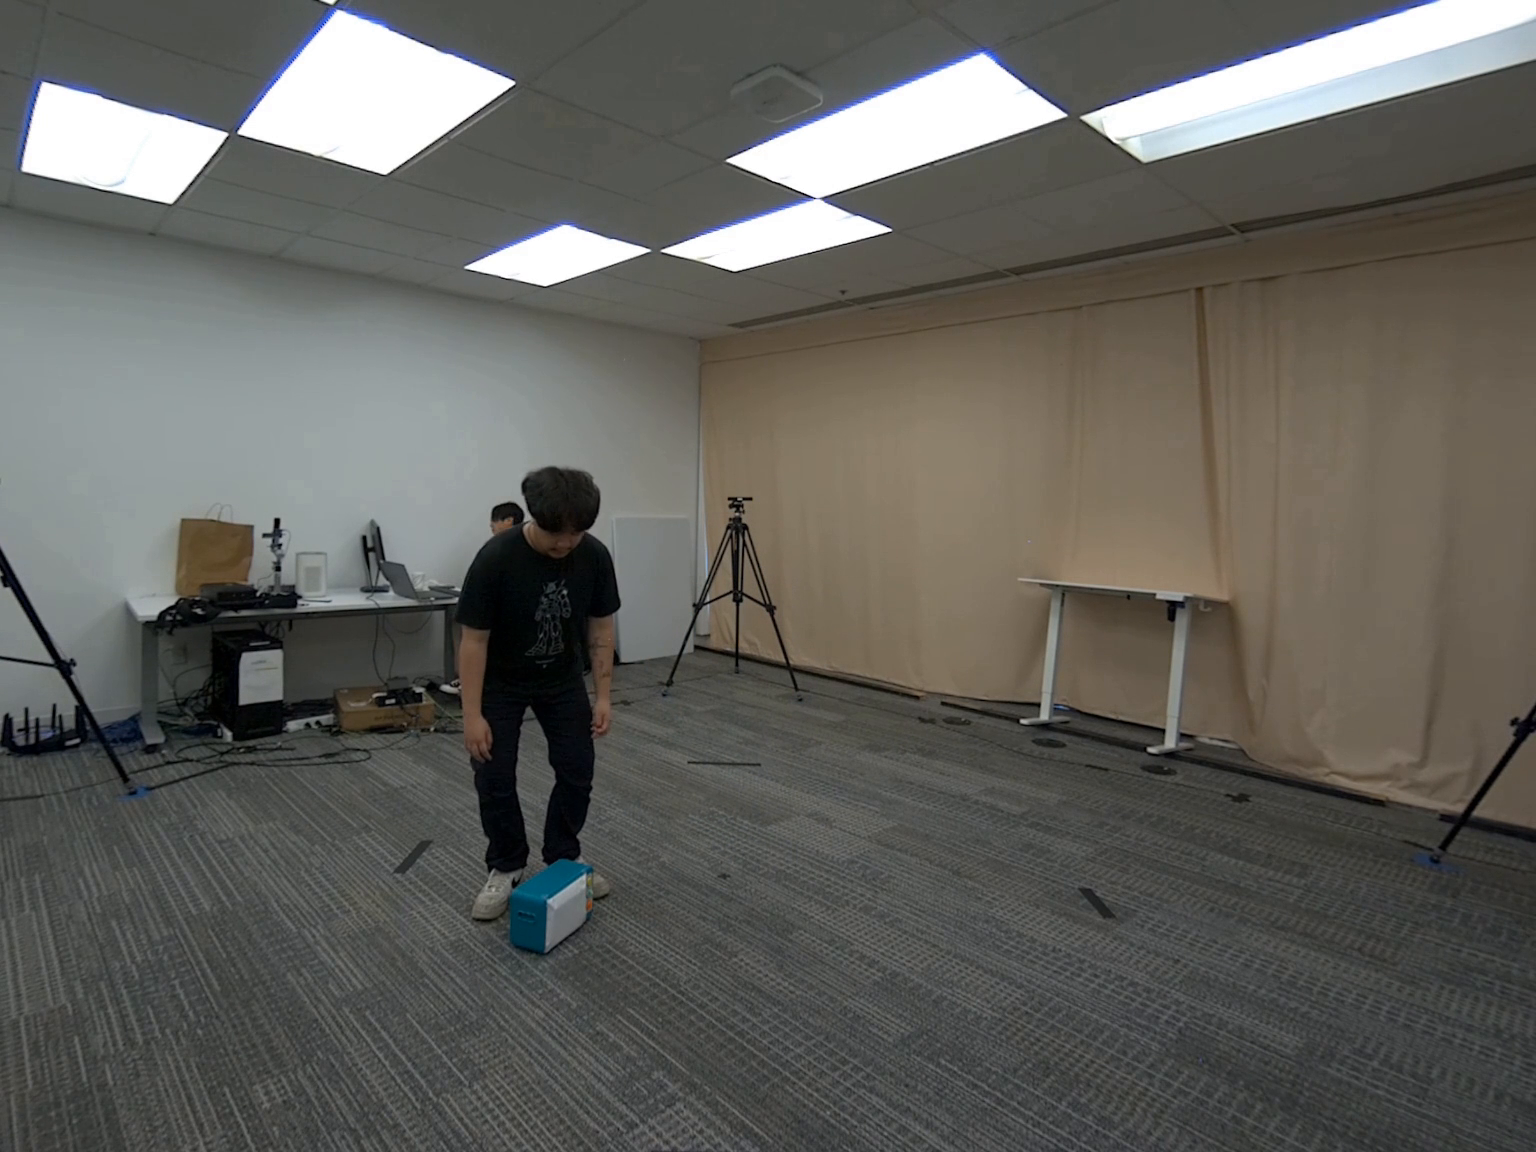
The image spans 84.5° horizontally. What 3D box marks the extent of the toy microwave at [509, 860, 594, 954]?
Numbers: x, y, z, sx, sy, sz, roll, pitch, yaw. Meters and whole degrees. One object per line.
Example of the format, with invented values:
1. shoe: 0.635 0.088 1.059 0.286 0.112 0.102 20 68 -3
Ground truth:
1. toy microwave: -0.683 1.044 2.668 0.155 0.184 0.281 2 4 24
